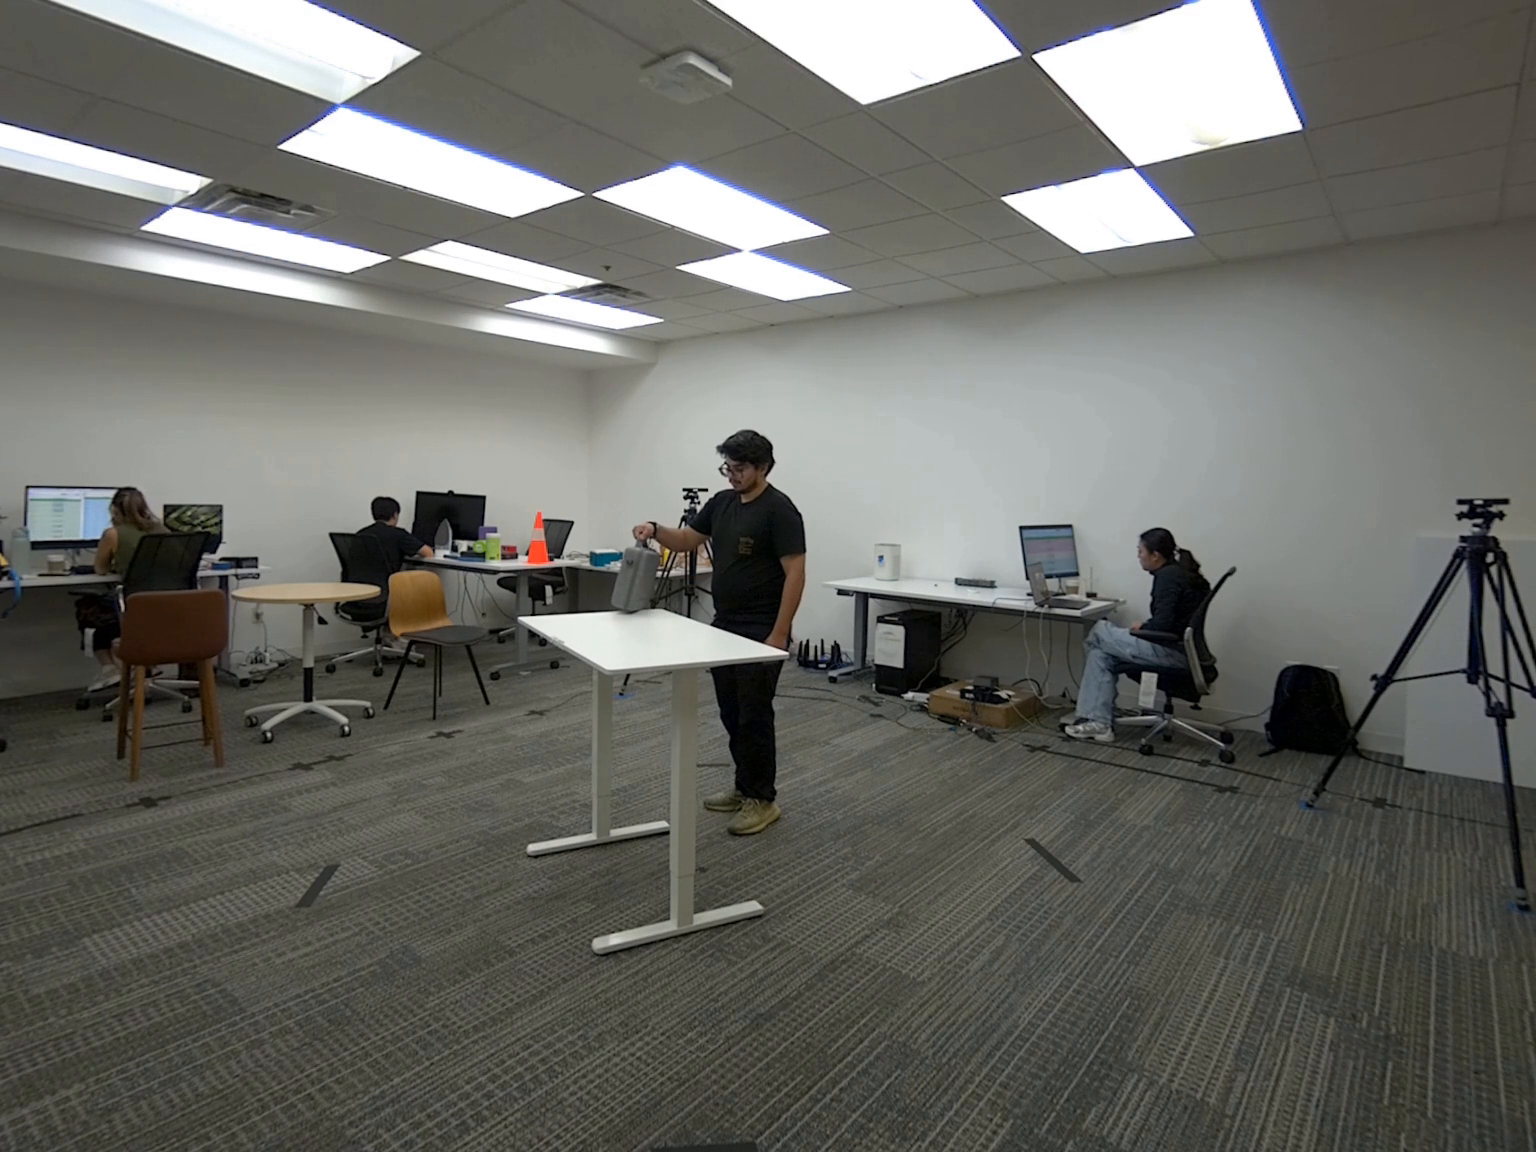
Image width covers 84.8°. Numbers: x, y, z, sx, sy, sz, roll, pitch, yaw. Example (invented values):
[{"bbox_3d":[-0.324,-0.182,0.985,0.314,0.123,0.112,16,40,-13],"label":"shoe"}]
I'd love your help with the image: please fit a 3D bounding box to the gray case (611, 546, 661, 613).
[{"bbox_3d":[-0.545,0.004,3.487,0.105,0.261,0.254,13,0,7],"label":"gray case"}]
